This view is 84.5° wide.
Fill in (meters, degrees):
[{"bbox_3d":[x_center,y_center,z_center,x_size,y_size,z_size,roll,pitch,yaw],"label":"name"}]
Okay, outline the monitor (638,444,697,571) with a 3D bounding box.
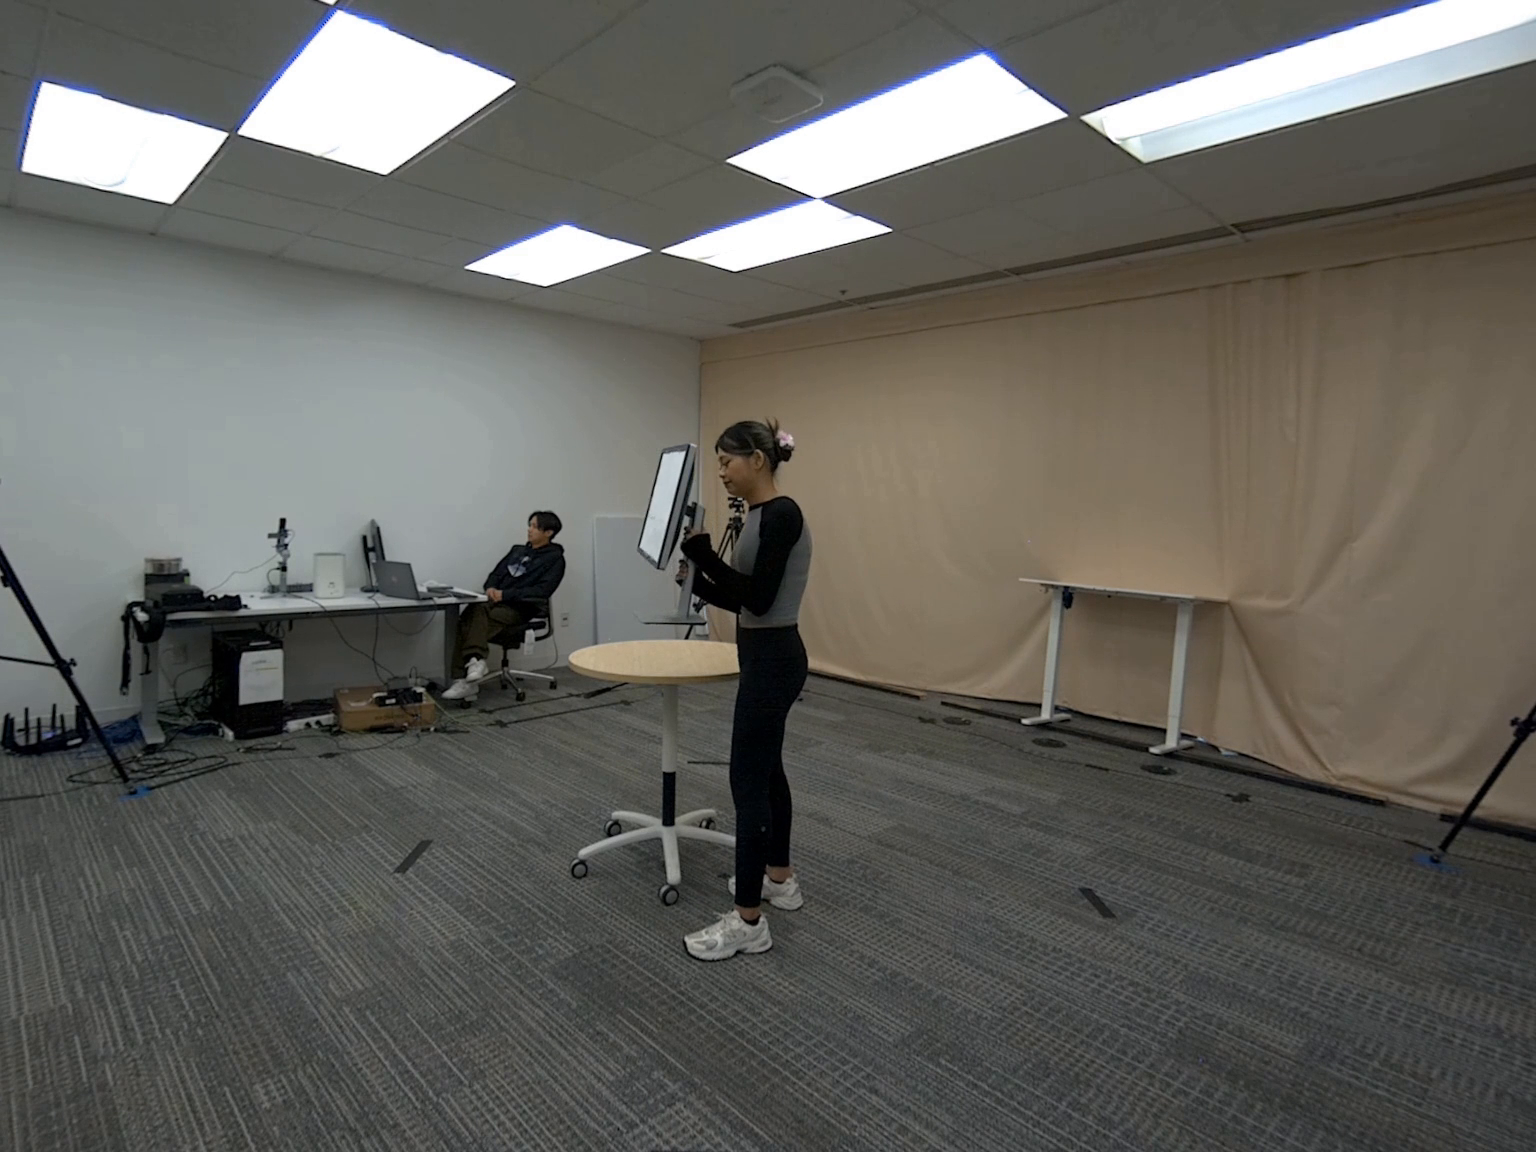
[{"bbox_3d":[-0.299,-0.129,2.641,0.185,0.521,0.548,2,6,-16],"label":"monitor"}]
